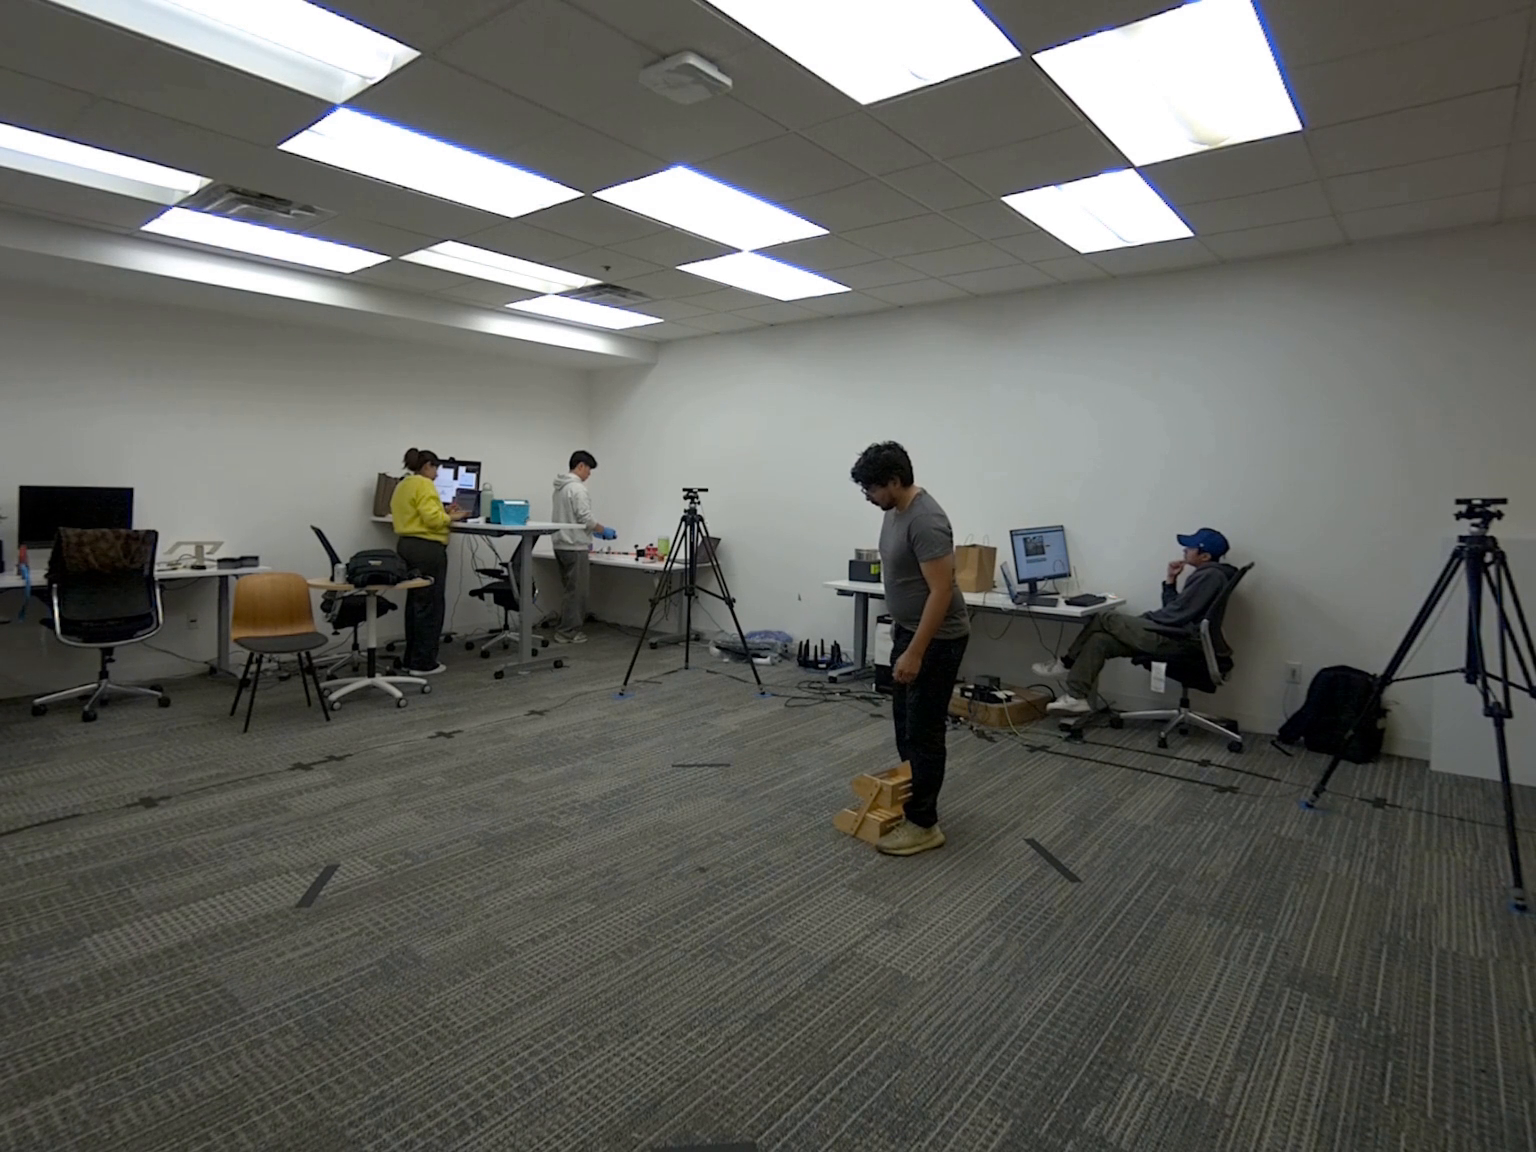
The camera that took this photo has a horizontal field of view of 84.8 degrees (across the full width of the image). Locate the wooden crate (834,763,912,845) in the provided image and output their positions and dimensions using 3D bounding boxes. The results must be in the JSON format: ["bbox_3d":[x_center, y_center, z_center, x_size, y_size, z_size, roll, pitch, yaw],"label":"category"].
[{"bbox_3d":[0.467,0.911,3.522,0.315,0.272,0.312,-3,7,-43],"label":"wooden crate"}]
